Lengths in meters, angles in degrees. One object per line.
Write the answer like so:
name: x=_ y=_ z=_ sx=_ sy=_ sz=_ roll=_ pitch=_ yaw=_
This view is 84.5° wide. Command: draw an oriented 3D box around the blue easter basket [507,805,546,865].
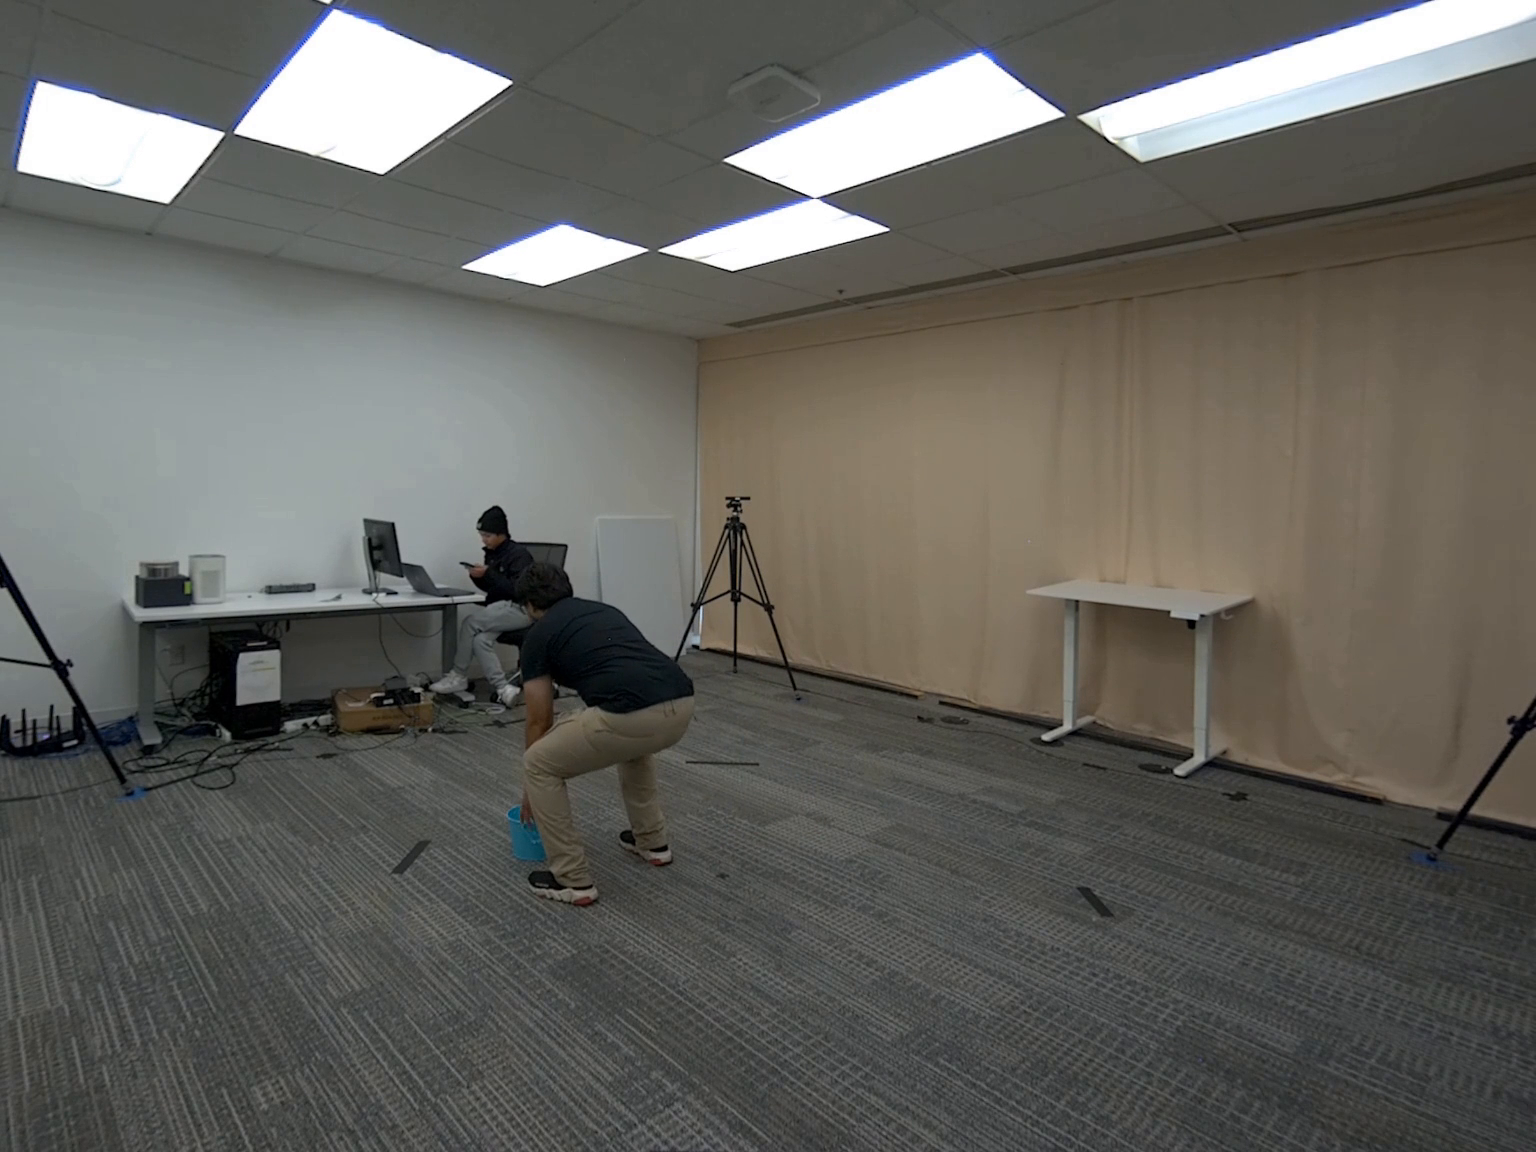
blue easter basket: x=-0.905 y=0.996 z=3.278 sx=0.243 sy=0.155 sz=0.244 roll=2 pitch=3 yaw=-1
